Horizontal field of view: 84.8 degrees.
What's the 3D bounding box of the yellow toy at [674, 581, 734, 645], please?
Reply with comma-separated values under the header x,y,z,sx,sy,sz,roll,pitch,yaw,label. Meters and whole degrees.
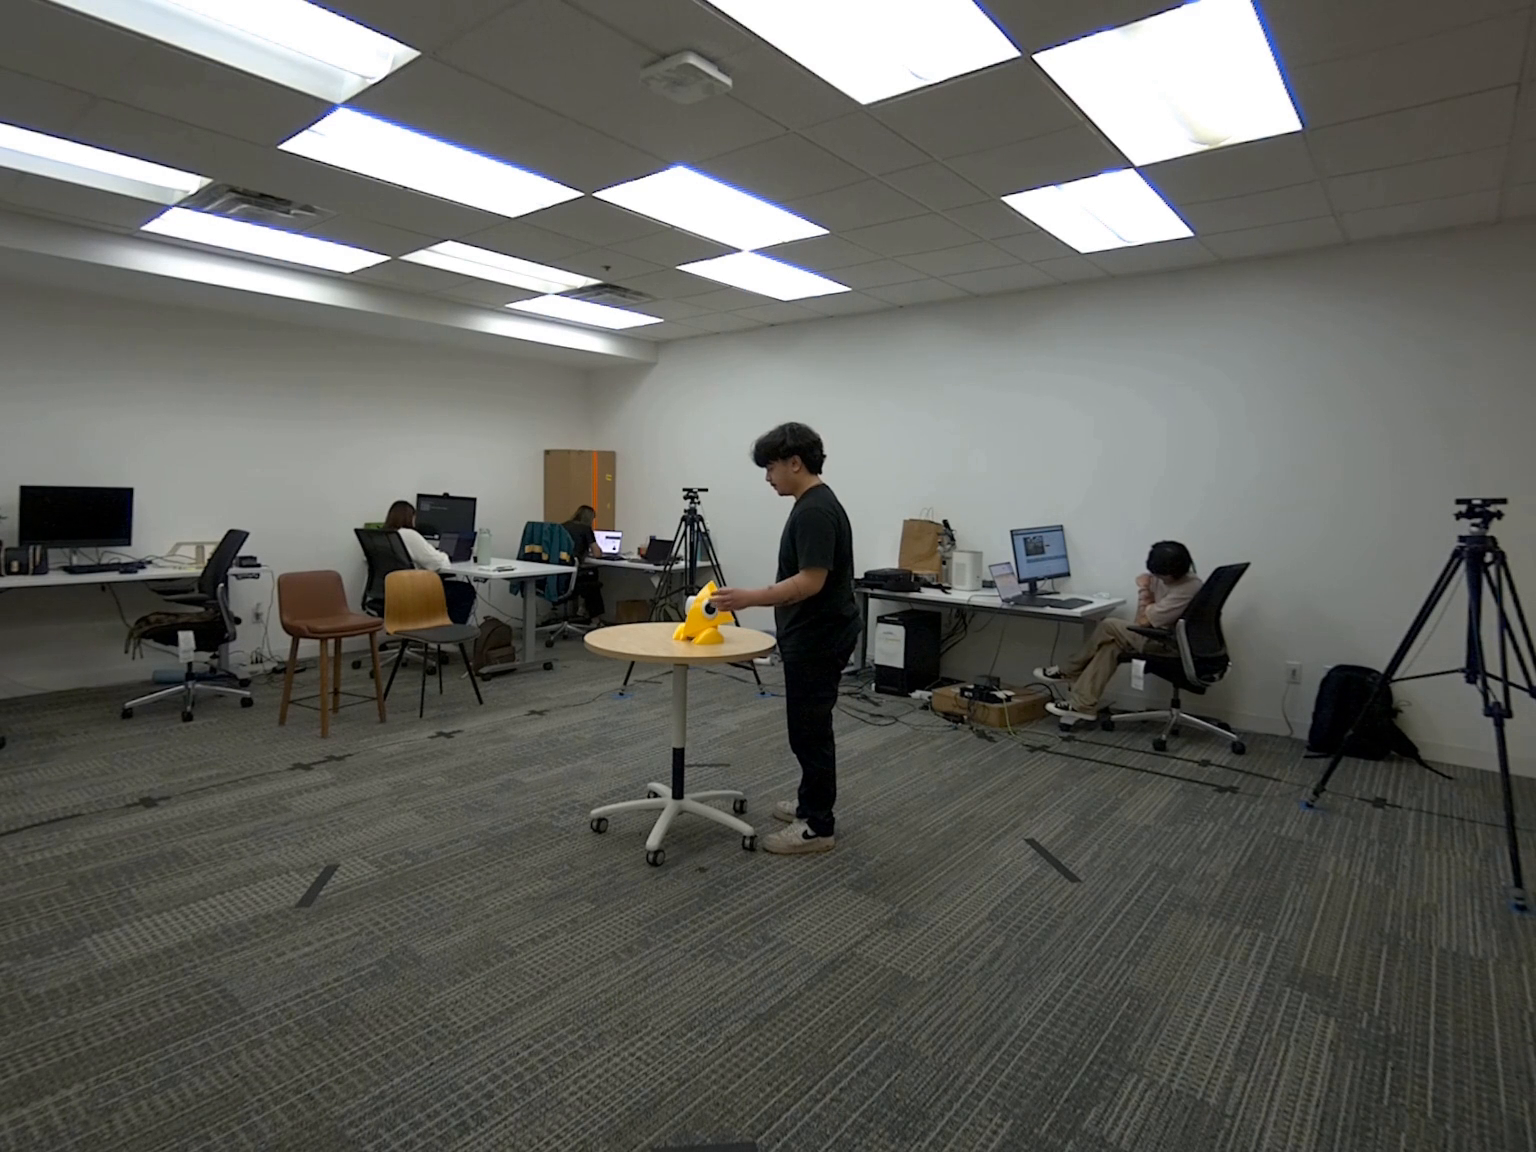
x,y,z,sx,sy,sz,roll,pitch,yaw,label
-0.279,0.134,3.389,0.212,0.230,0.187,5,6,41,yellow toy
